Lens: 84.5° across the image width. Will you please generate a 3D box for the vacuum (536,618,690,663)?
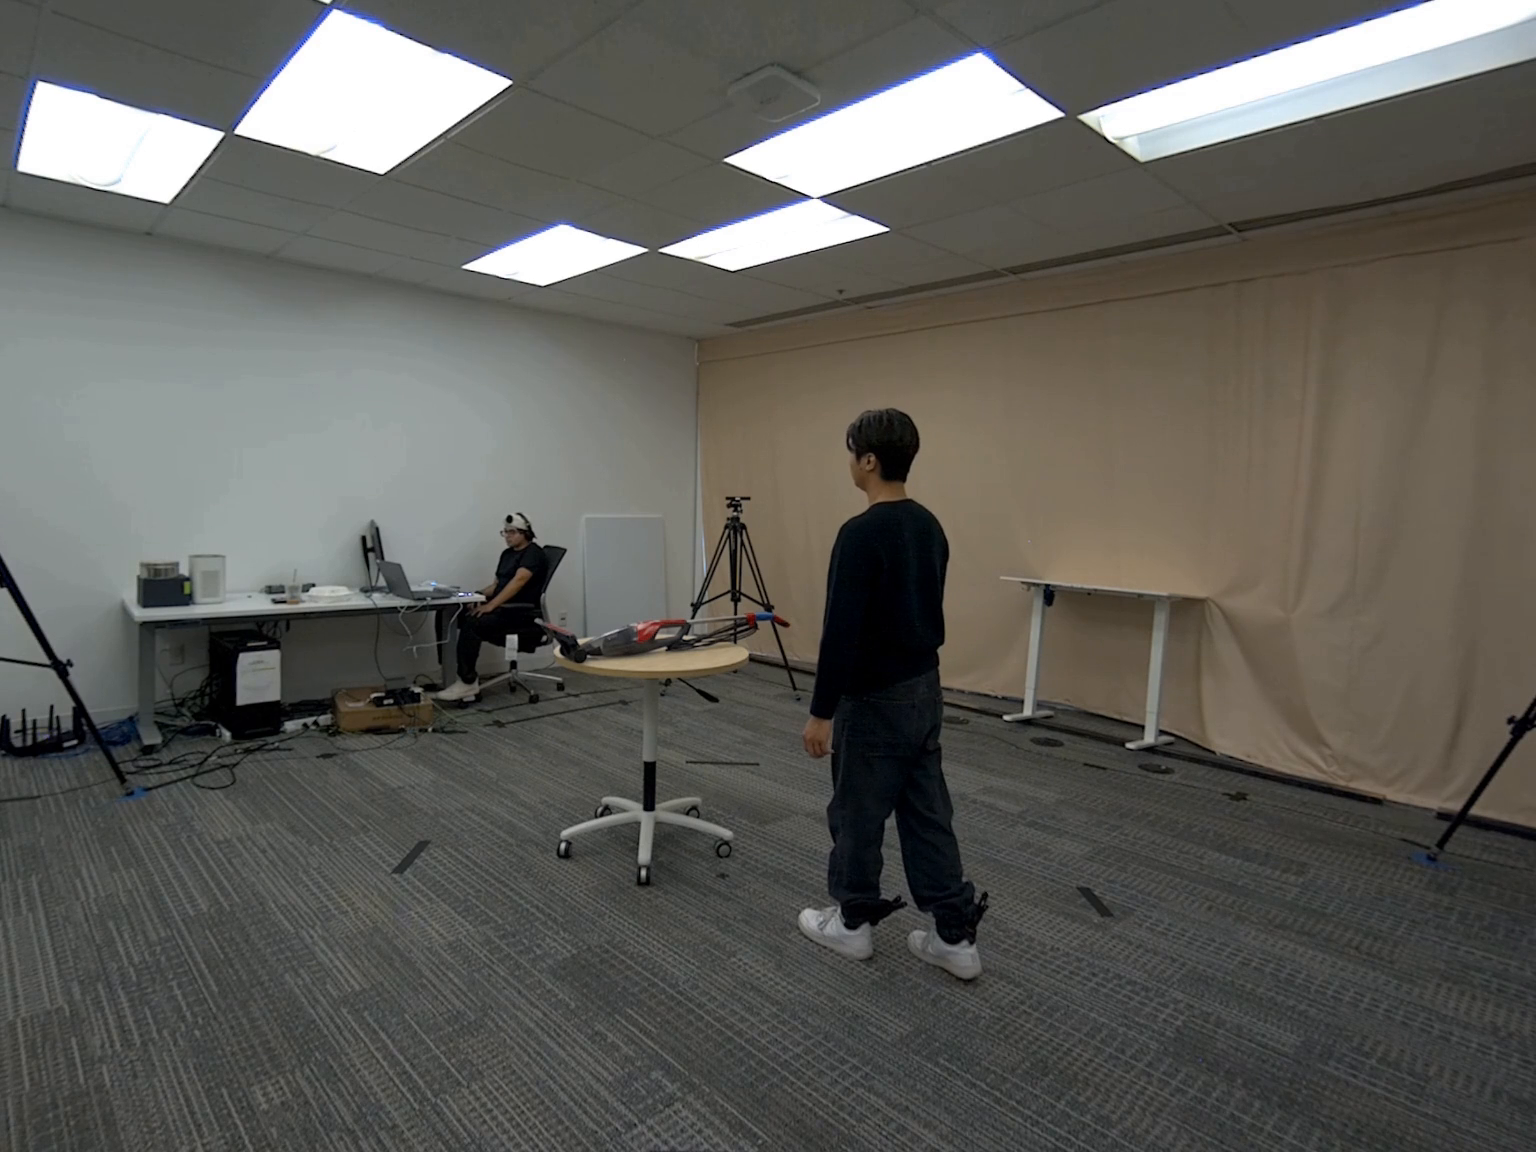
[{"bbox_3d":[-0.344,0.244,3.367,1.026,0.143,0.259,-2,8,-36],"label":"vacuum"}]
